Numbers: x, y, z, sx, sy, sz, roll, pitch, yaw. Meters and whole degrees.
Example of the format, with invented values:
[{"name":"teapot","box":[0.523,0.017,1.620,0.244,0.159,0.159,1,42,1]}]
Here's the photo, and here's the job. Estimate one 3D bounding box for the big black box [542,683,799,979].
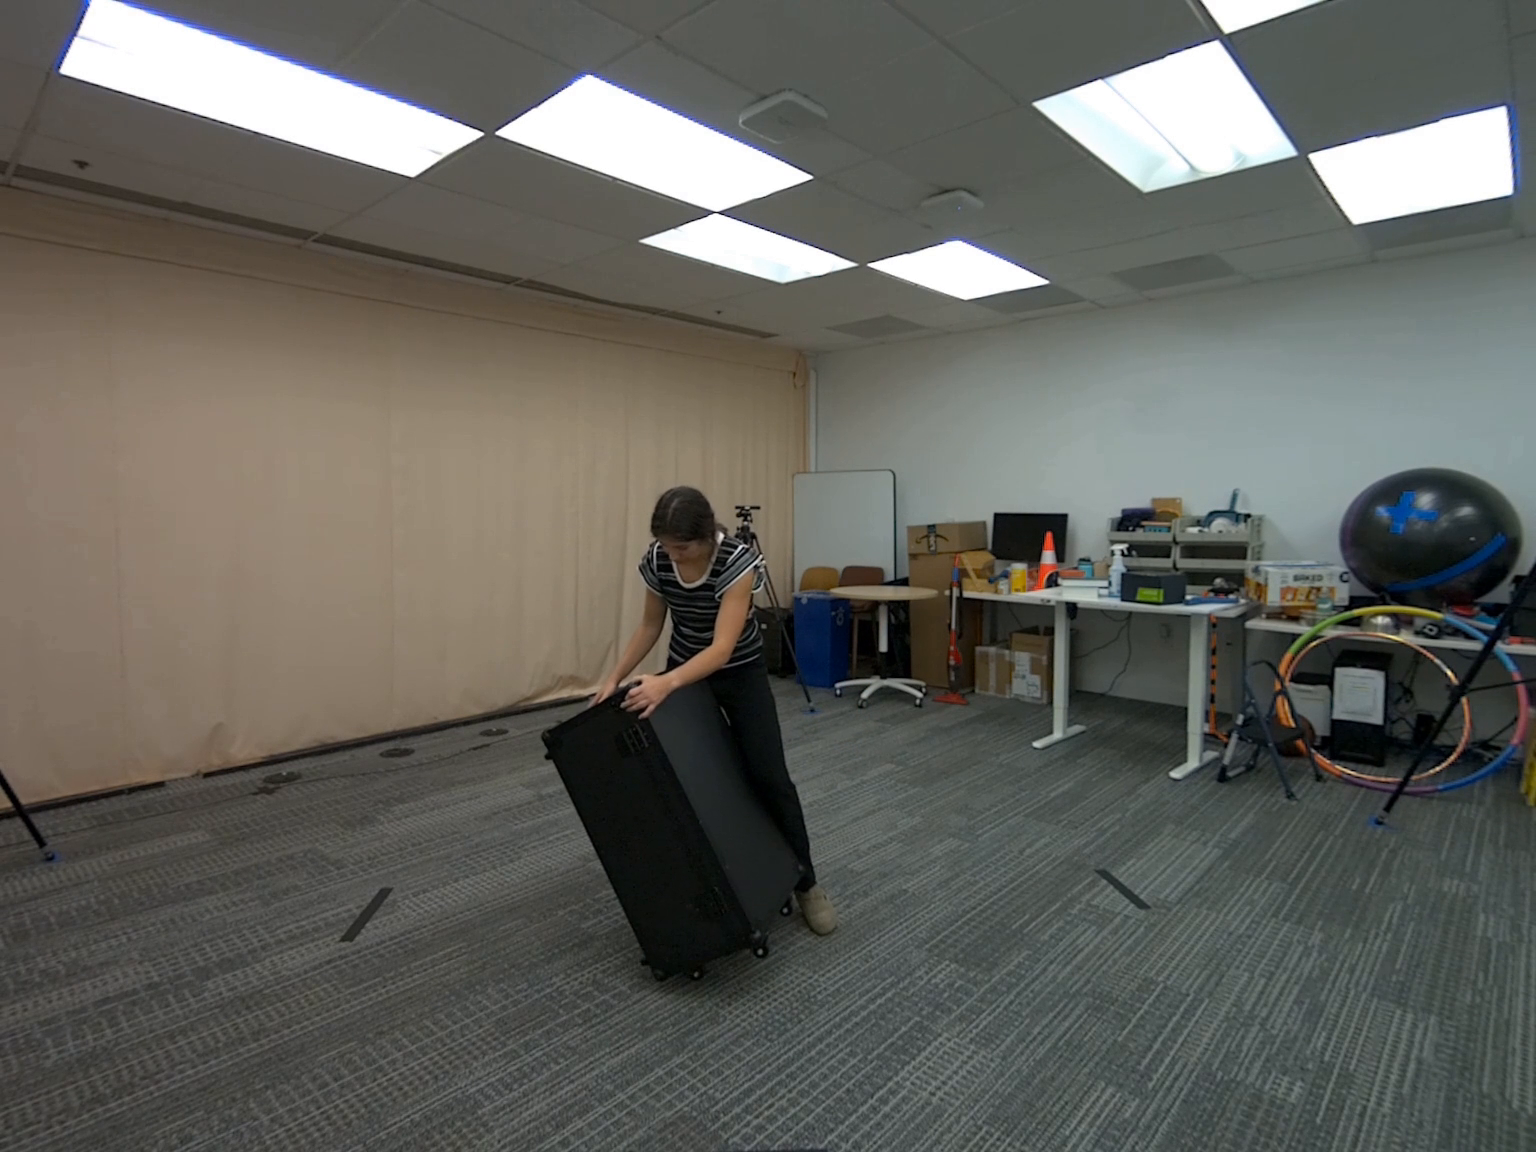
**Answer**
[{"name":"big black box","box":[-0.283,0.757,2.607,0.400,0.869,0.512,-31,-7,16]}]
